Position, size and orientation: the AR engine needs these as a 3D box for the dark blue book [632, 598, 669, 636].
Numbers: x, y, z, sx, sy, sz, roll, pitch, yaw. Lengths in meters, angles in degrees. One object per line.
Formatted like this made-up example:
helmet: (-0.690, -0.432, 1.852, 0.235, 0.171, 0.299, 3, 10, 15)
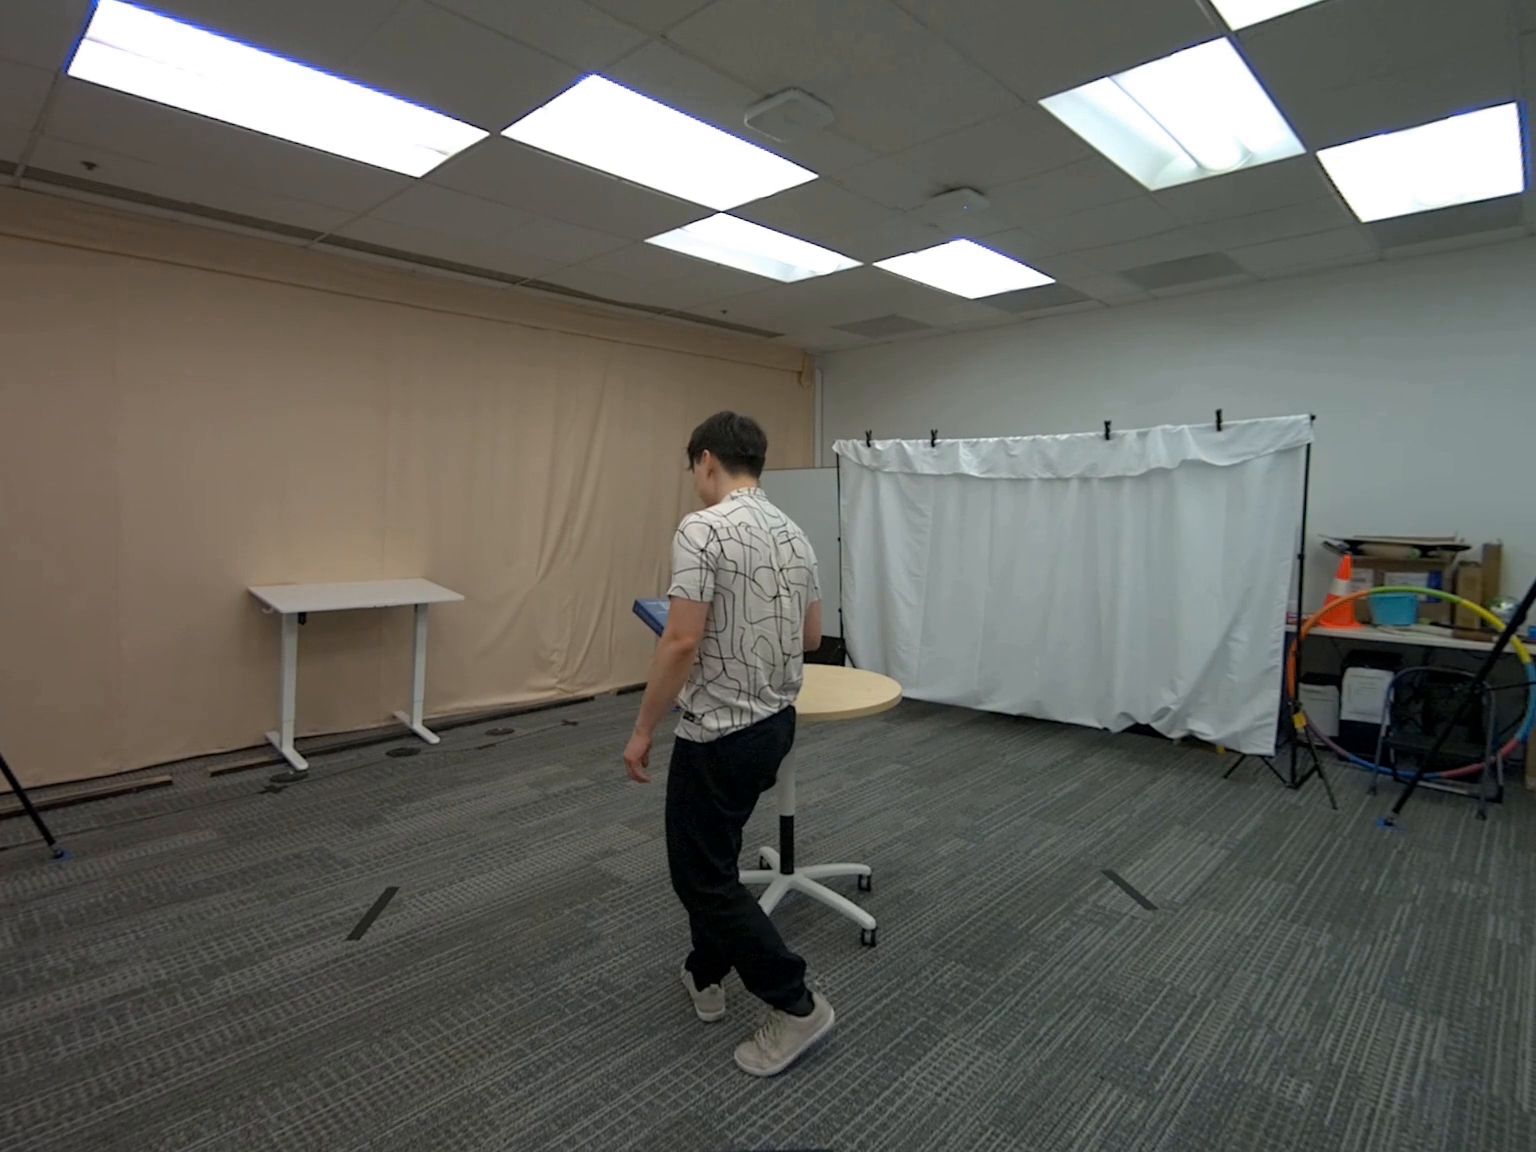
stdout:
dark blue book: (-0.266, 0.136, 2.531, 0.159, 0.045, 0.254, -2, 22, -35)
